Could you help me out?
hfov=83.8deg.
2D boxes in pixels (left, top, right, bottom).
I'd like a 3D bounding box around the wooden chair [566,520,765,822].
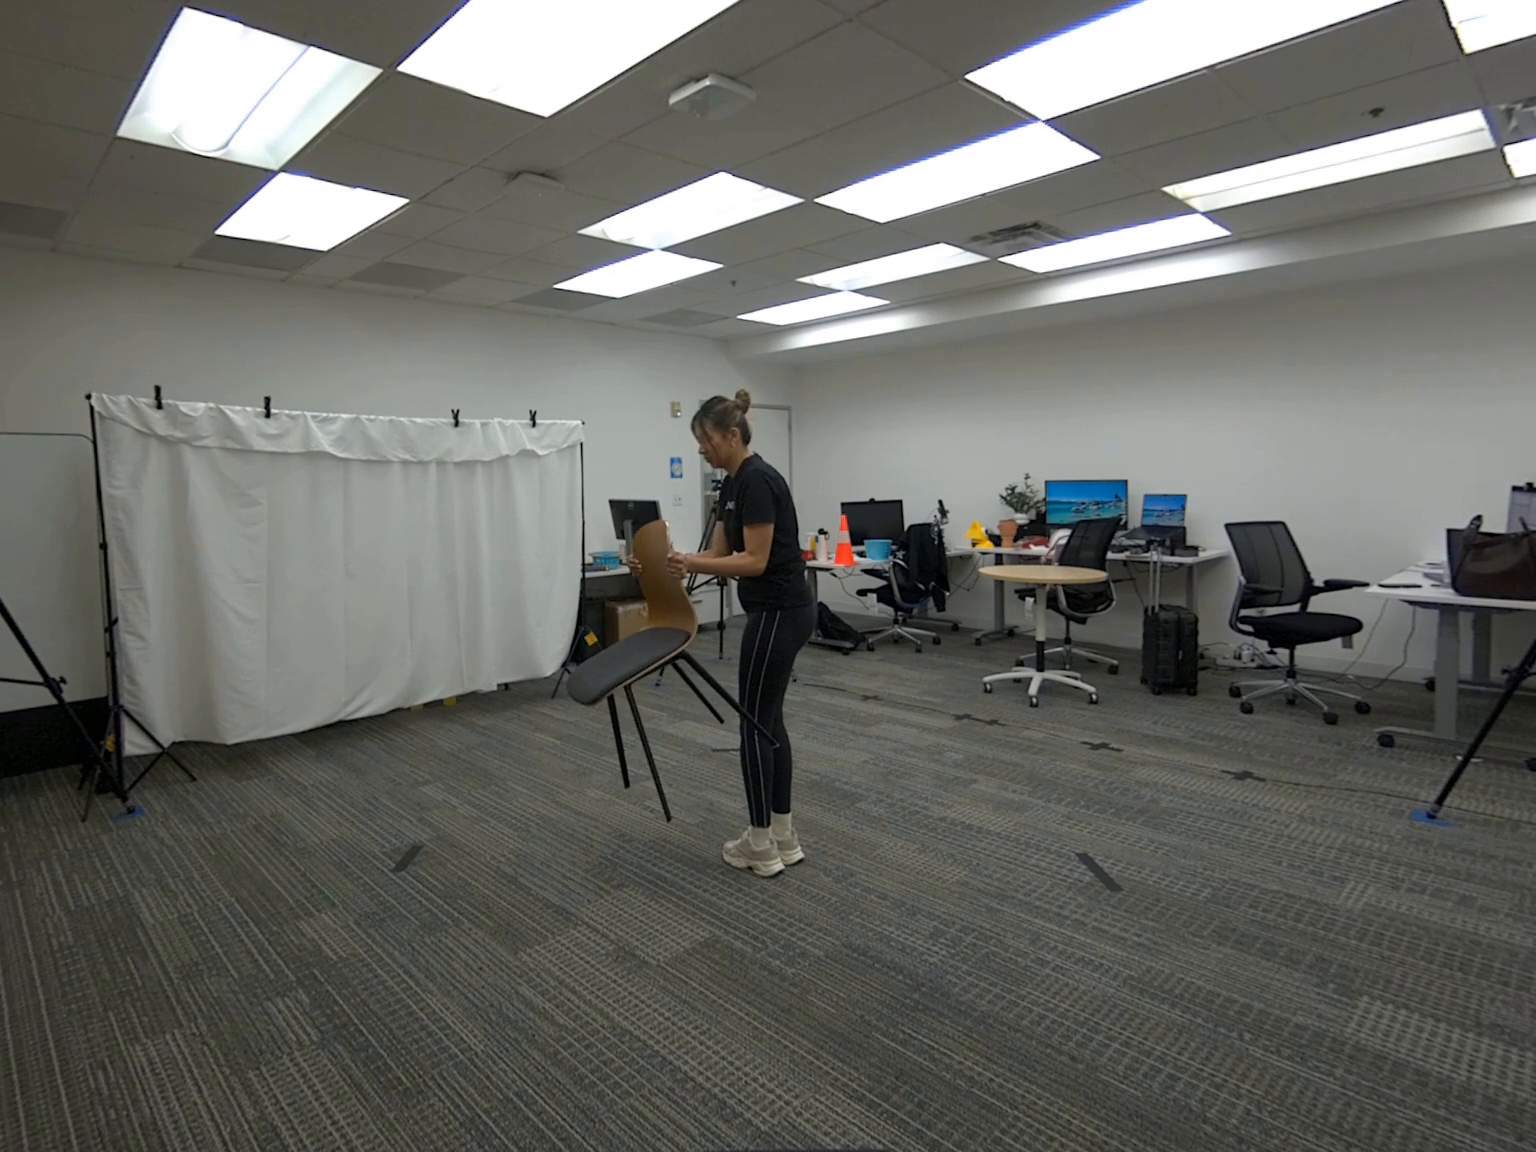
[{"bbox_3d":[-0.430,0.312,2.953,0.517,0.868,0.488,-25,10,-24],"label":"wooden chair"}]
